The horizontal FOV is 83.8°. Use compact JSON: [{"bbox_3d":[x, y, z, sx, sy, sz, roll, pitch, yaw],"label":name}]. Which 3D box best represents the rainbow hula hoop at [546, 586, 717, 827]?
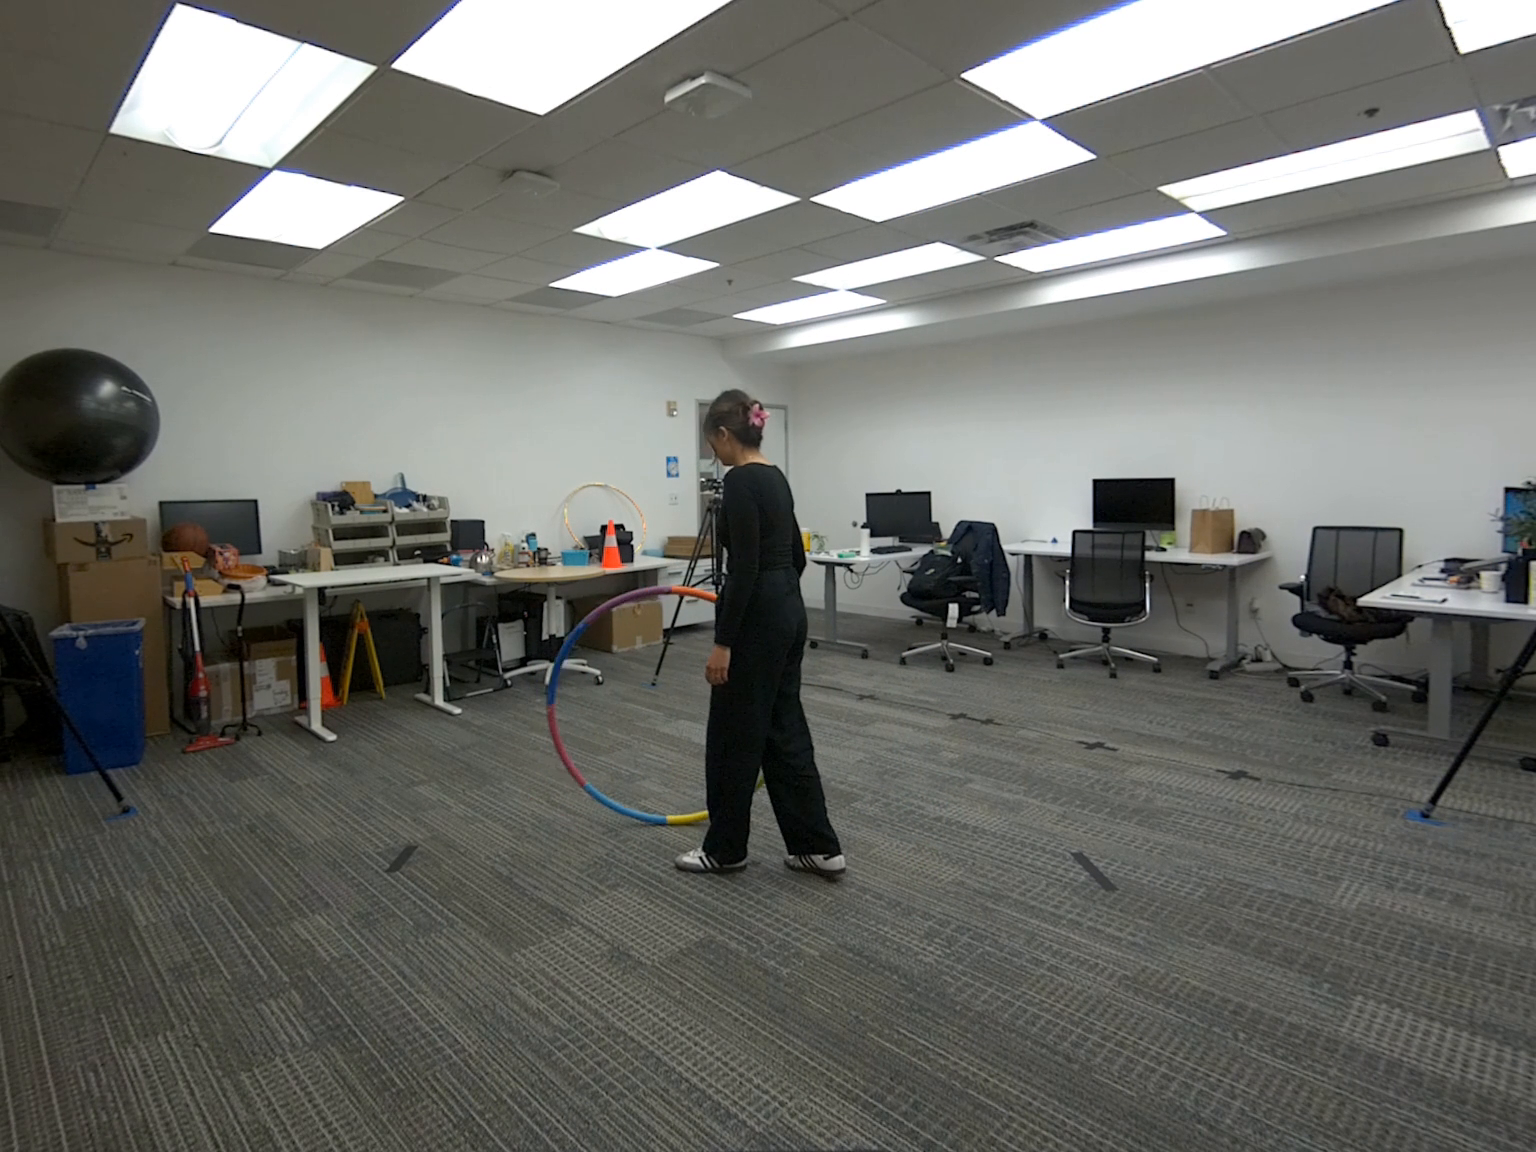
[{"bbox_3d":[-0.393,0.528,3.408,0.979,0.971,0.036,-1,7,1],"label":"rainbow hula hoop"}]
